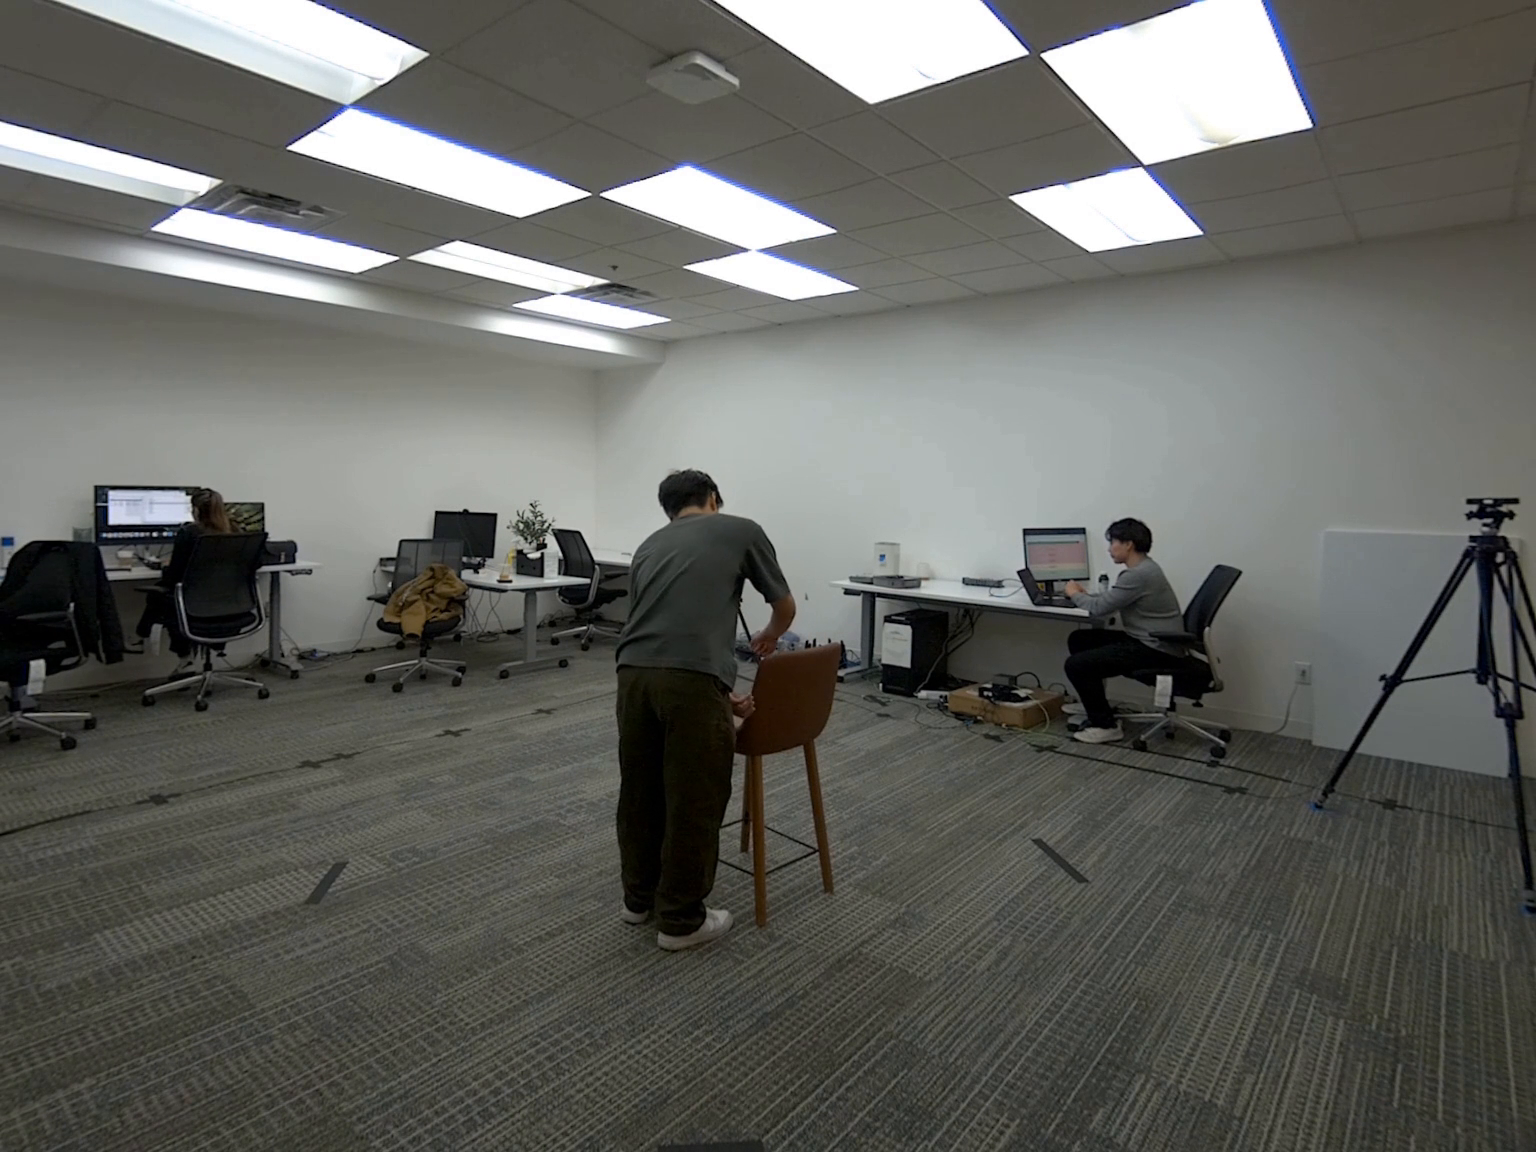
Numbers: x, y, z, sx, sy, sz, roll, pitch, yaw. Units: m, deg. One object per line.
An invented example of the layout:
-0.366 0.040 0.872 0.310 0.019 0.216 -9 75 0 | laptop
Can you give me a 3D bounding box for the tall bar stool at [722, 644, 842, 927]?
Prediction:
-0.051 0.649 2.964 0.484 0.886 0.442 7 6 44 | tall bar stool
